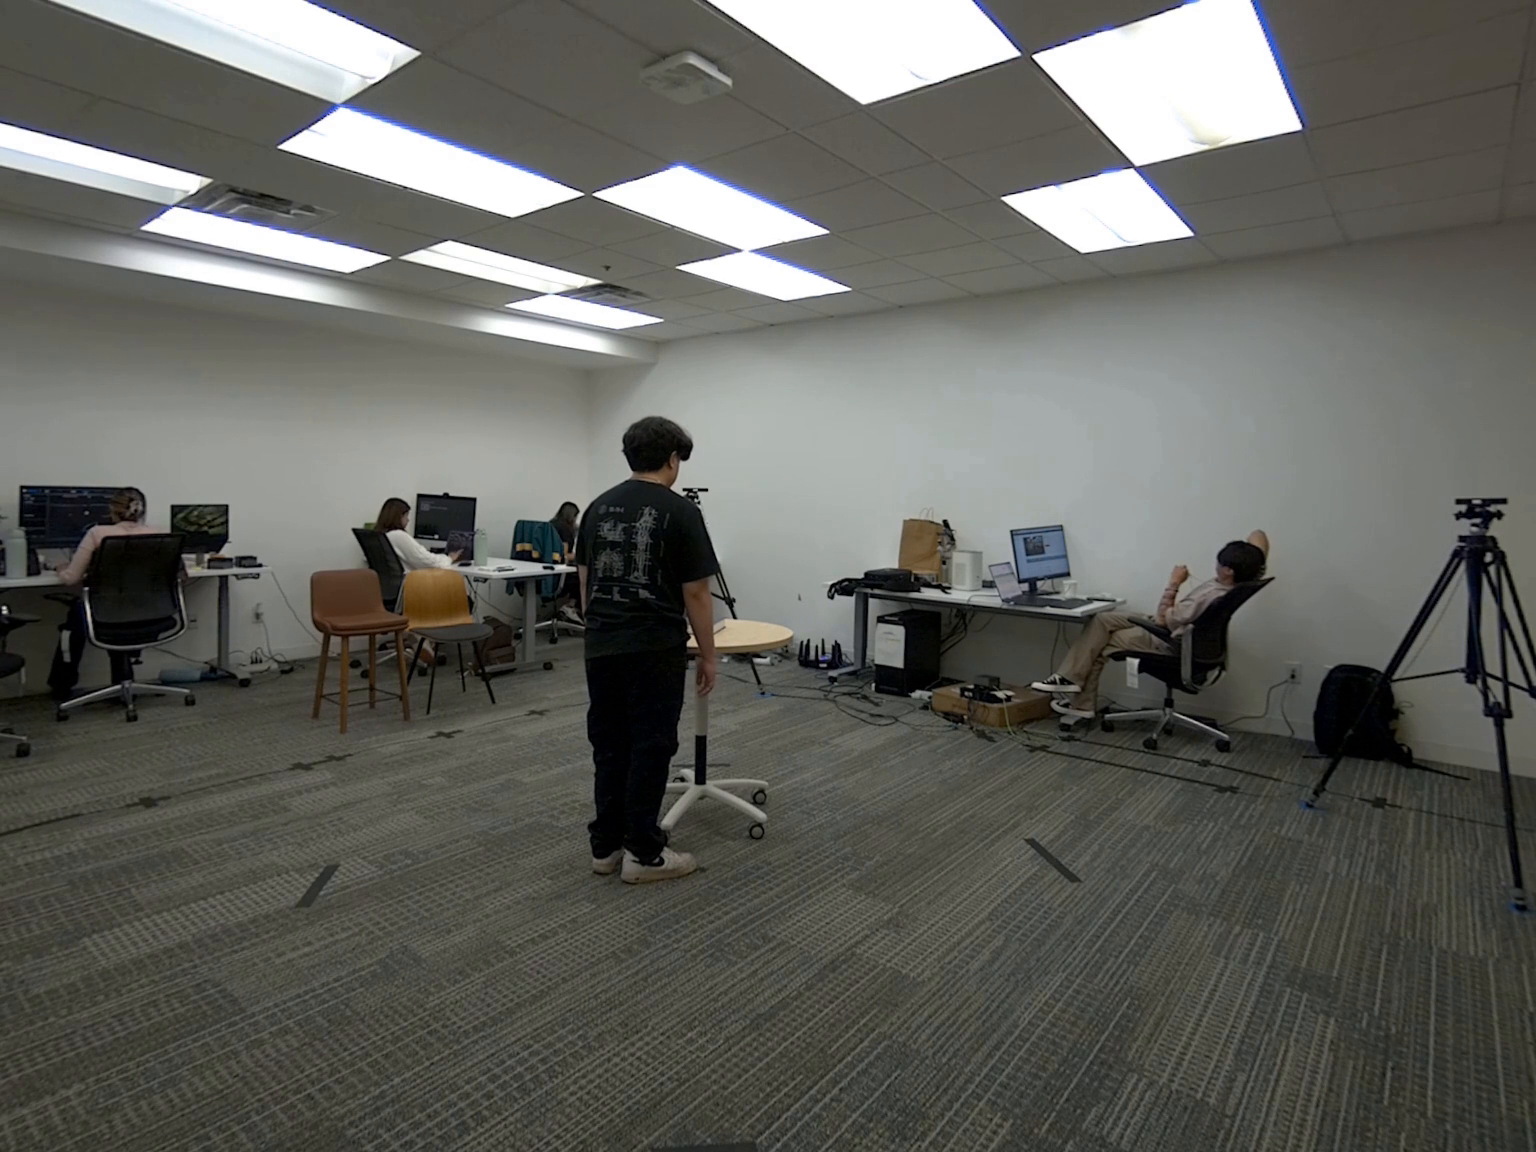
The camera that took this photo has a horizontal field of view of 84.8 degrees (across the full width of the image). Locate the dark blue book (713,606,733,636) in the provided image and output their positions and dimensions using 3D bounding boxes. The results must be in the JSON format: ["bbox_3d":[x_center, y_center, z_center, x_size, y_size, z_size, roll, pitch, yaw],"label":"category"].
[{"bbox_3d":[-0.295,0.206,3.611,0.166,0.045,0.242,2,5,12],"label":"dark blue book"}]
